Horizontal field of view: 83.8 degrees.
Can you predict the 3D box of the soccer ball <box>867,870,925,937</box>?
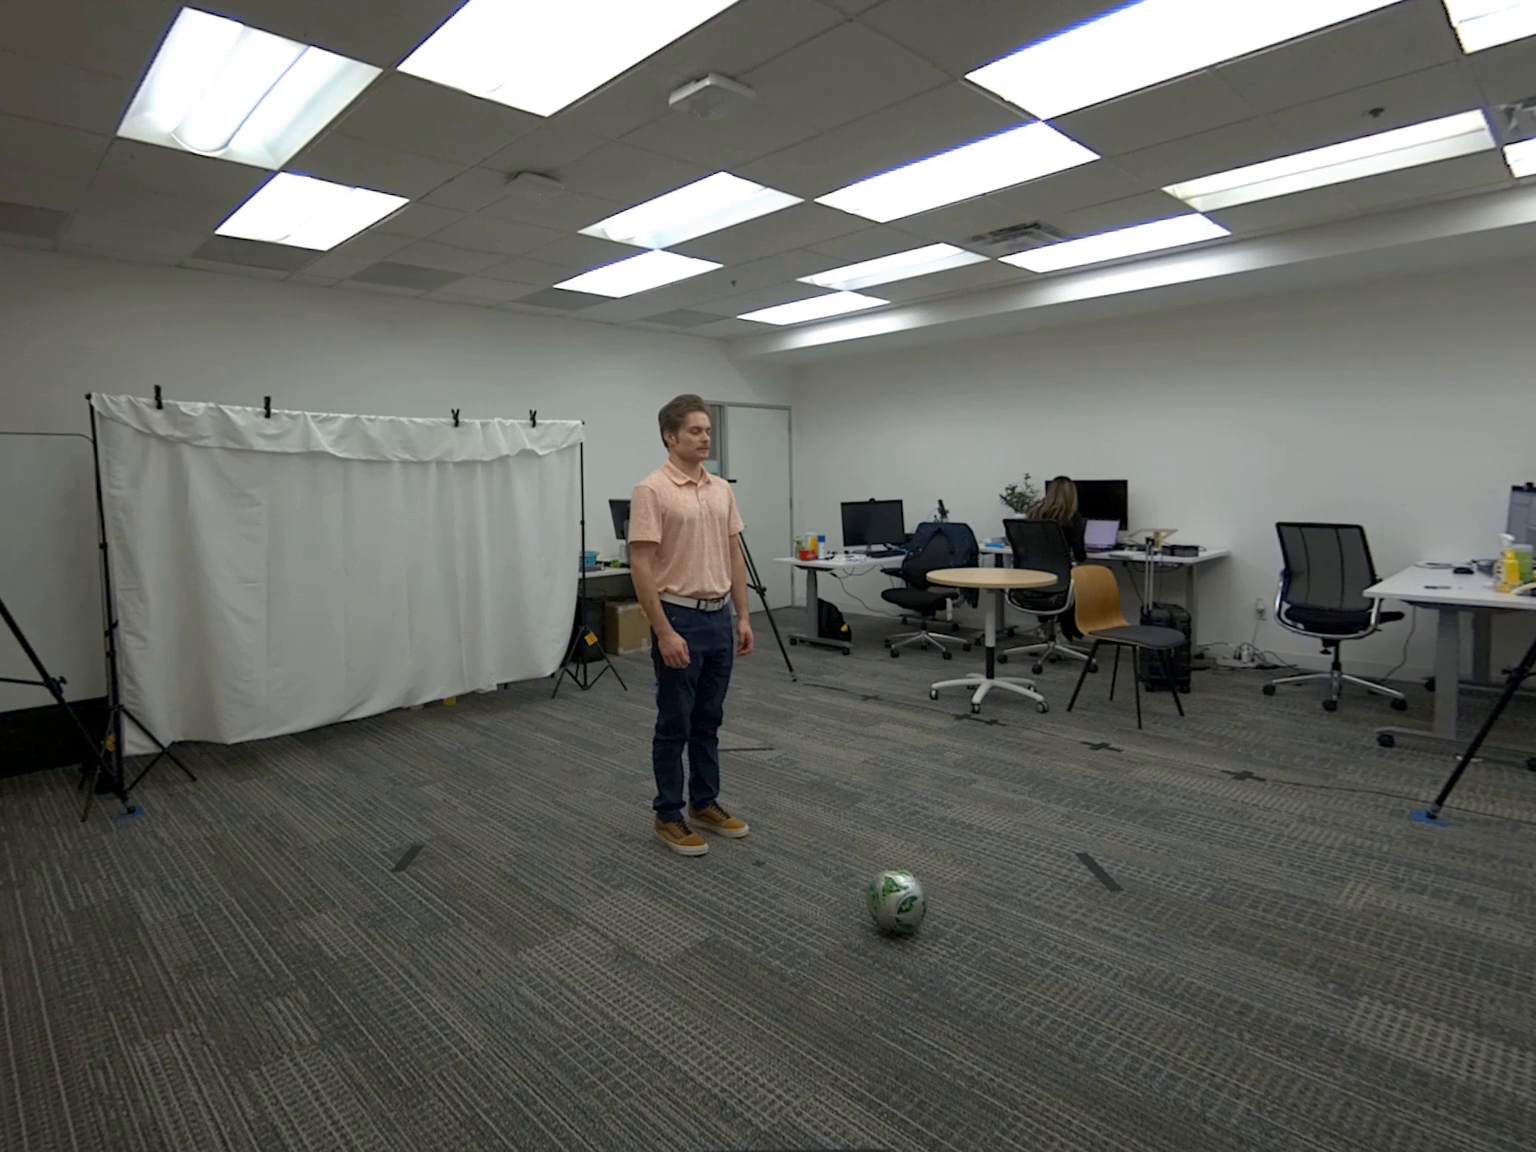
[{"bbox_3d":[0.402,0.999,2.631,0.187,0.187,0.188,-1,5,-2],"label":"soccer ball"}]
